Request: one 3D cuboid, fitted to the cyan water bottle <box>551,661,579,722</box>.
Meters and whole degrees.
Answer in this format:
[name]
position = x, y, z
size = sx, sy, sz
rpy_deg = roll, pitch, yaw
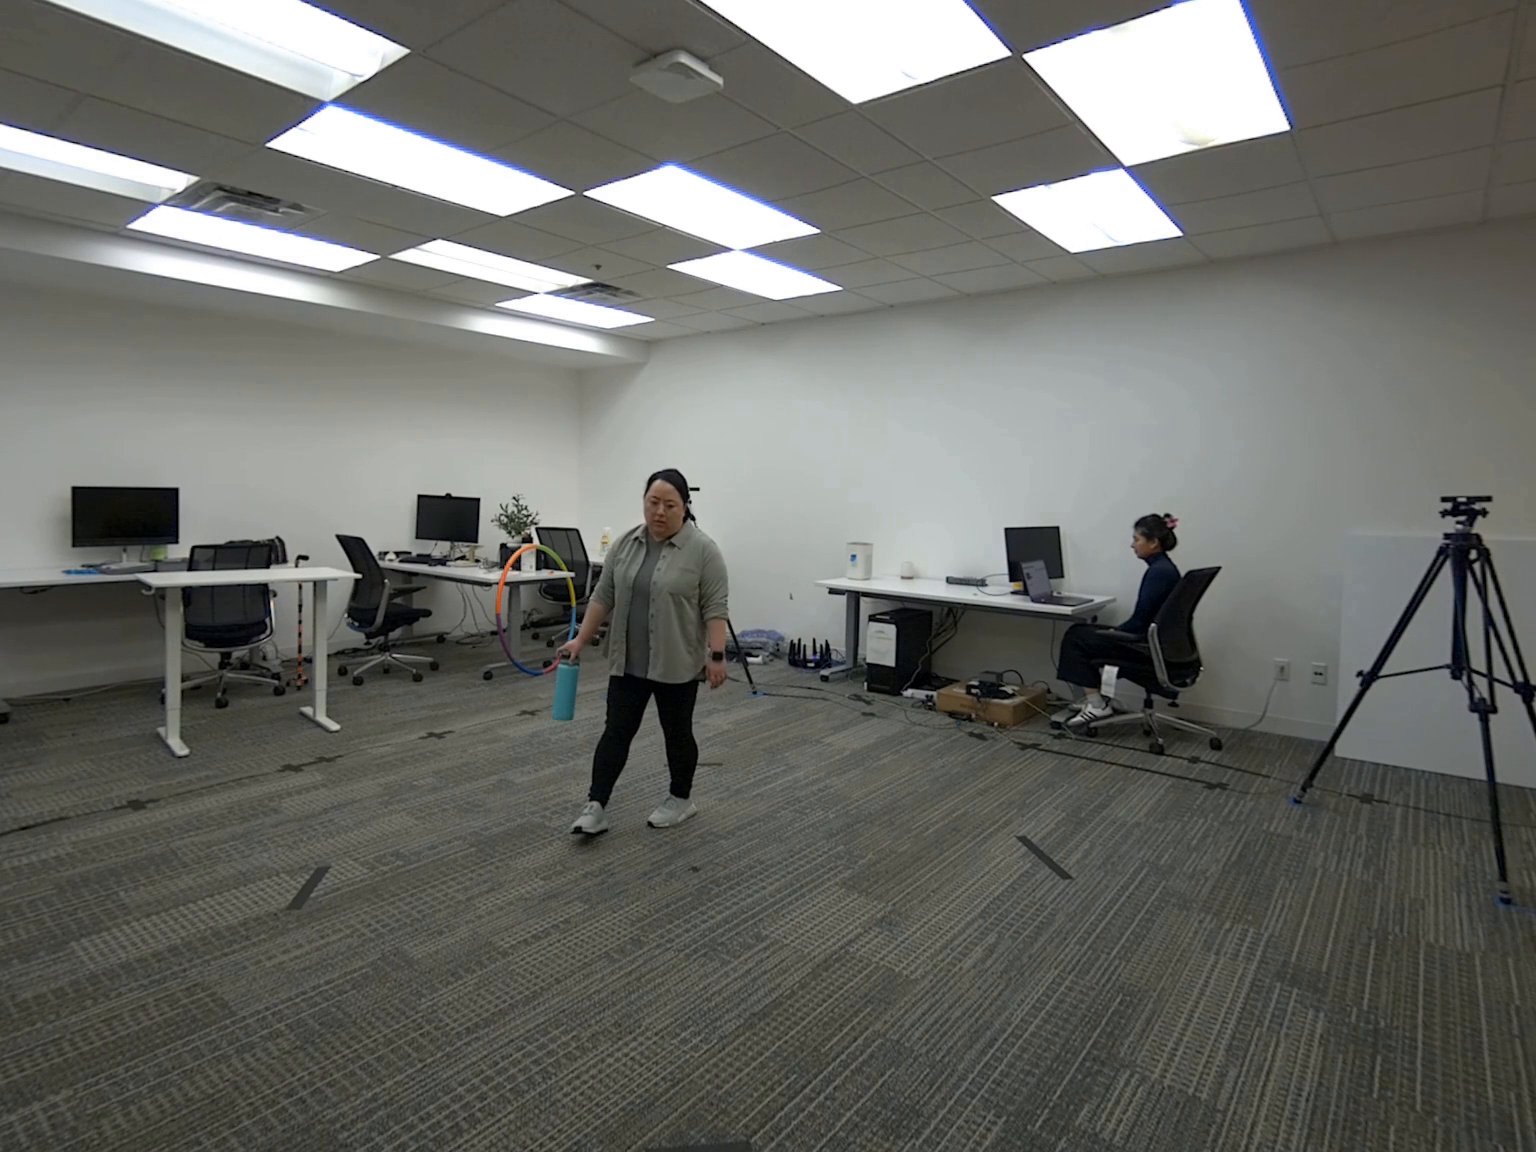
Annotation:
[cyan water bottle]
position = -0.839, 0.456, 3.533
size = 0.092, 0.283, 0.092
rpy_deg = 5, 0, -2
